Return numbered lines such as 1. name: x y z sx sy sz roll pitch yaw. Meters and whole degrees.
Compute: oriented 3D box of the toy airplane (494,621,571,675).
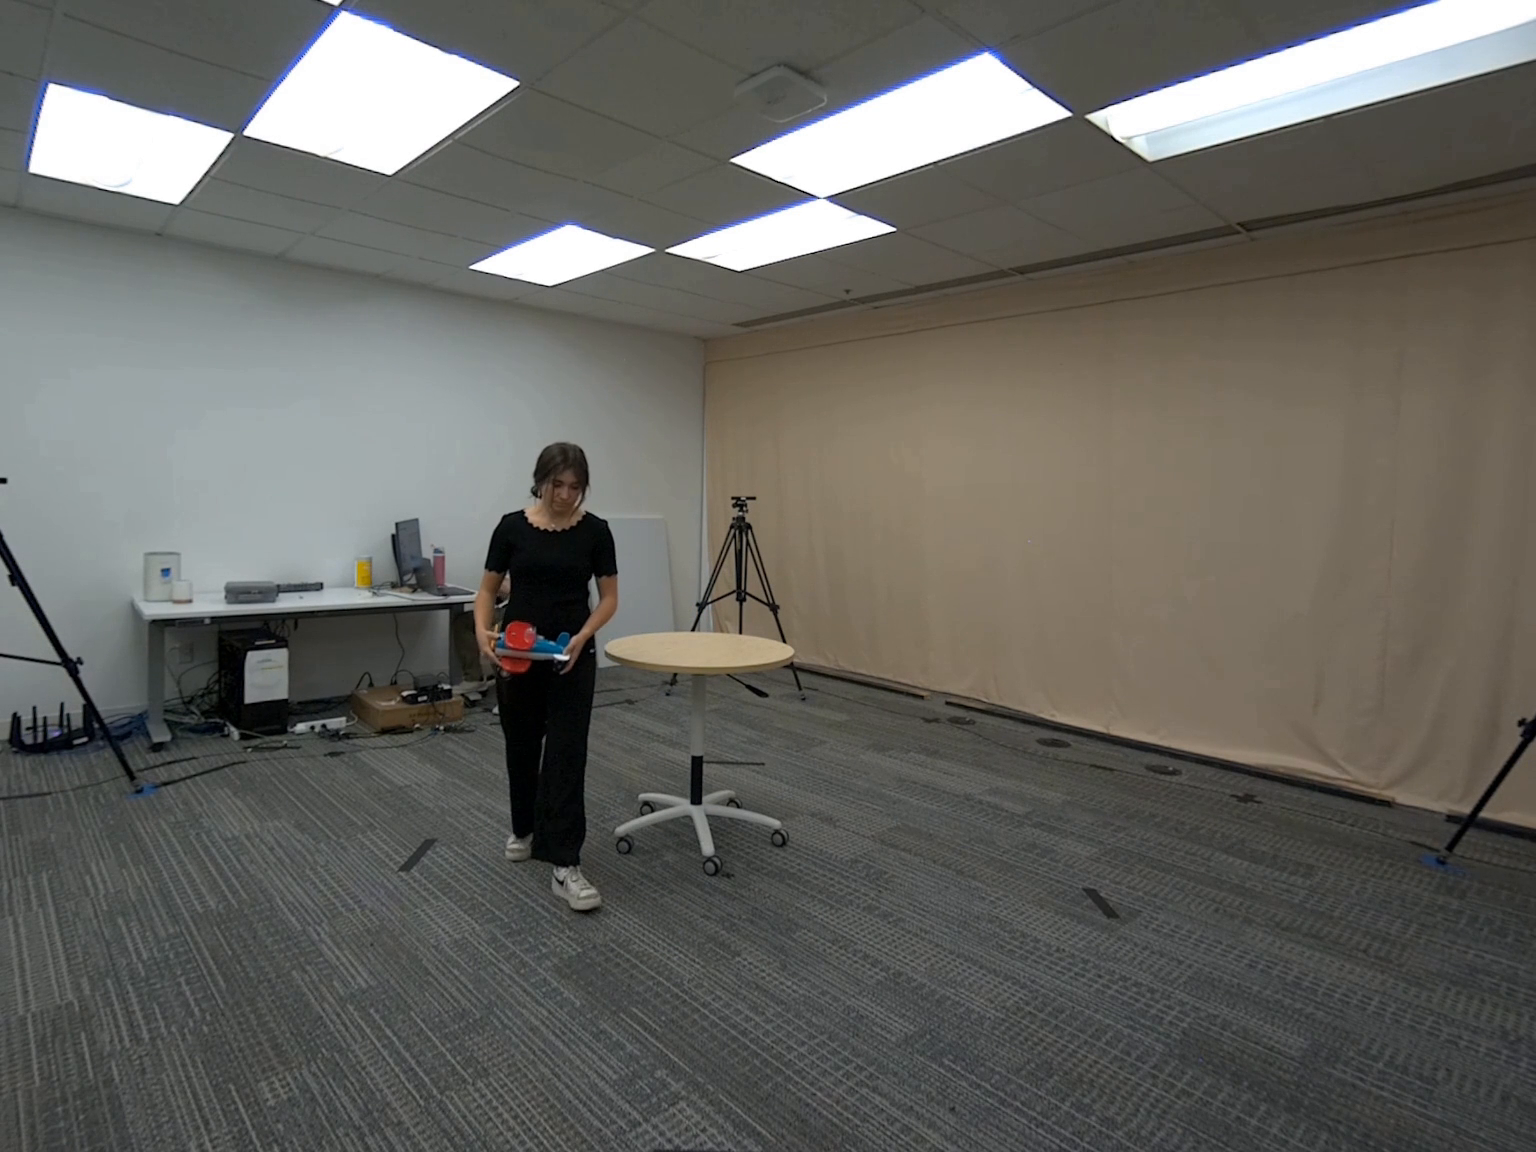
1. toy airplane: -0.824 0.245 2.851 0.255 0.155 0.258 -15 19 -36
